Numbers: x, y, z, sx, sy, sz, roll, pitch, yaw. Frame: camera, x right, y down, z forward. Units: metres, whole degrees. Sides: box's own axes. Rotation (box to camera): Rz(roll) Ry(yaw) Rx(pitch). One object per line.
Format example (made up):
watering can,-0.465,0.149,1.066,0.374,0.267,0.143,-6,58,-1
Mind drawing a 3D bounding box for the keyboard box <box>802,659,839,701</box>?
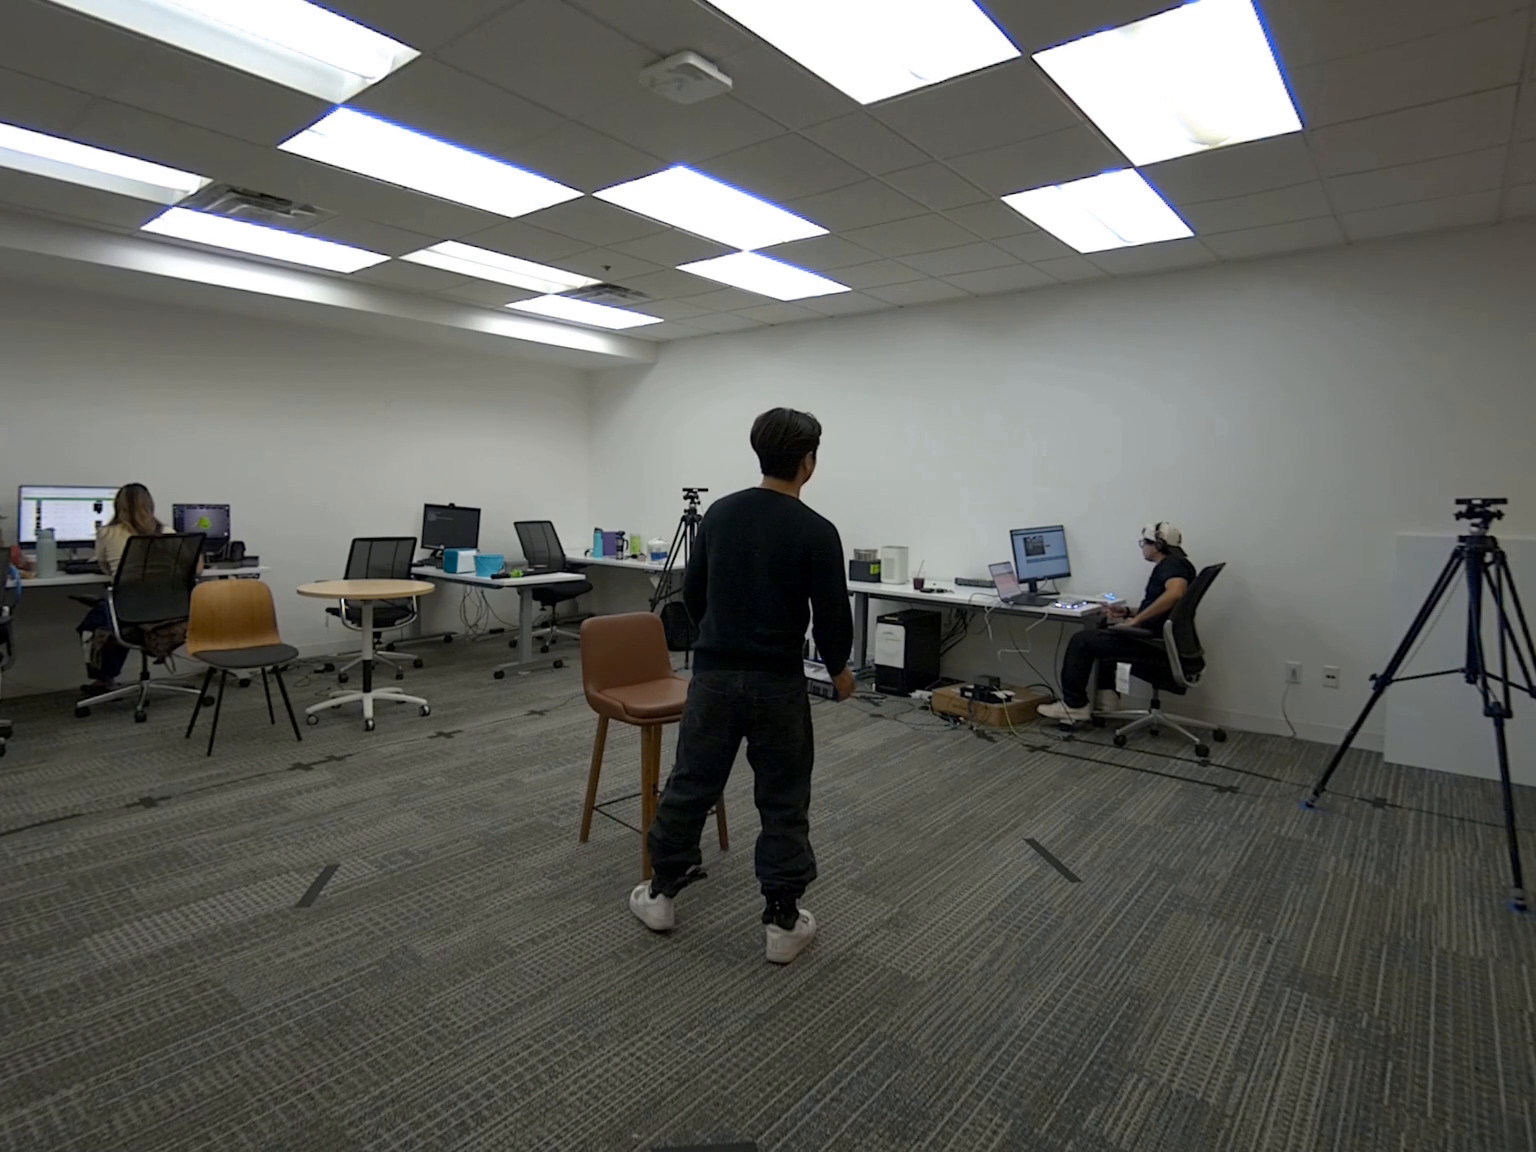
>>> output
keyboard box,0.066,0.329,2.887,0.451,0.059,0.171,11,11,32
